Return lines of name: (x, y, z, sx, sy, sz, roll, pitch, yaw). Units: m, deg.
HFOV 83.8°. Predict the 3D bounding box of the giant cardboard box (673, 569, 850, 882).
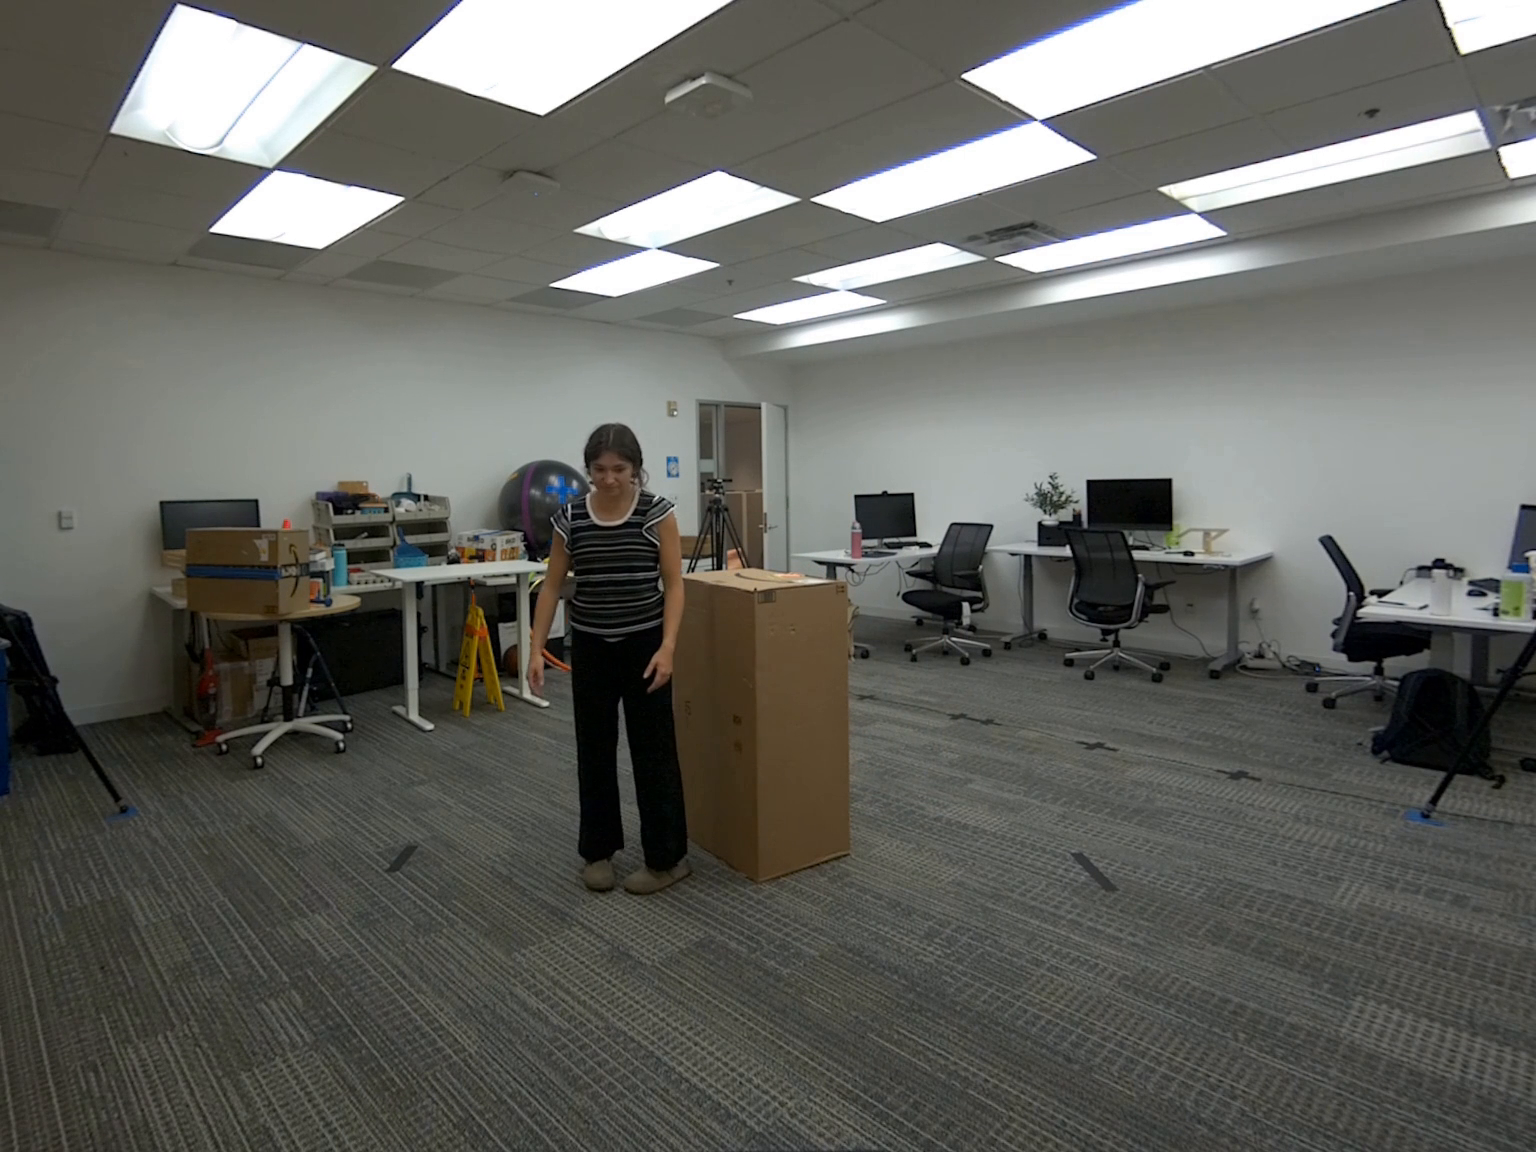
giant cardboard box: (-0.034, 0.516, 3.269, 0.415, 1.022, 0.594, -3, 5, -35)
